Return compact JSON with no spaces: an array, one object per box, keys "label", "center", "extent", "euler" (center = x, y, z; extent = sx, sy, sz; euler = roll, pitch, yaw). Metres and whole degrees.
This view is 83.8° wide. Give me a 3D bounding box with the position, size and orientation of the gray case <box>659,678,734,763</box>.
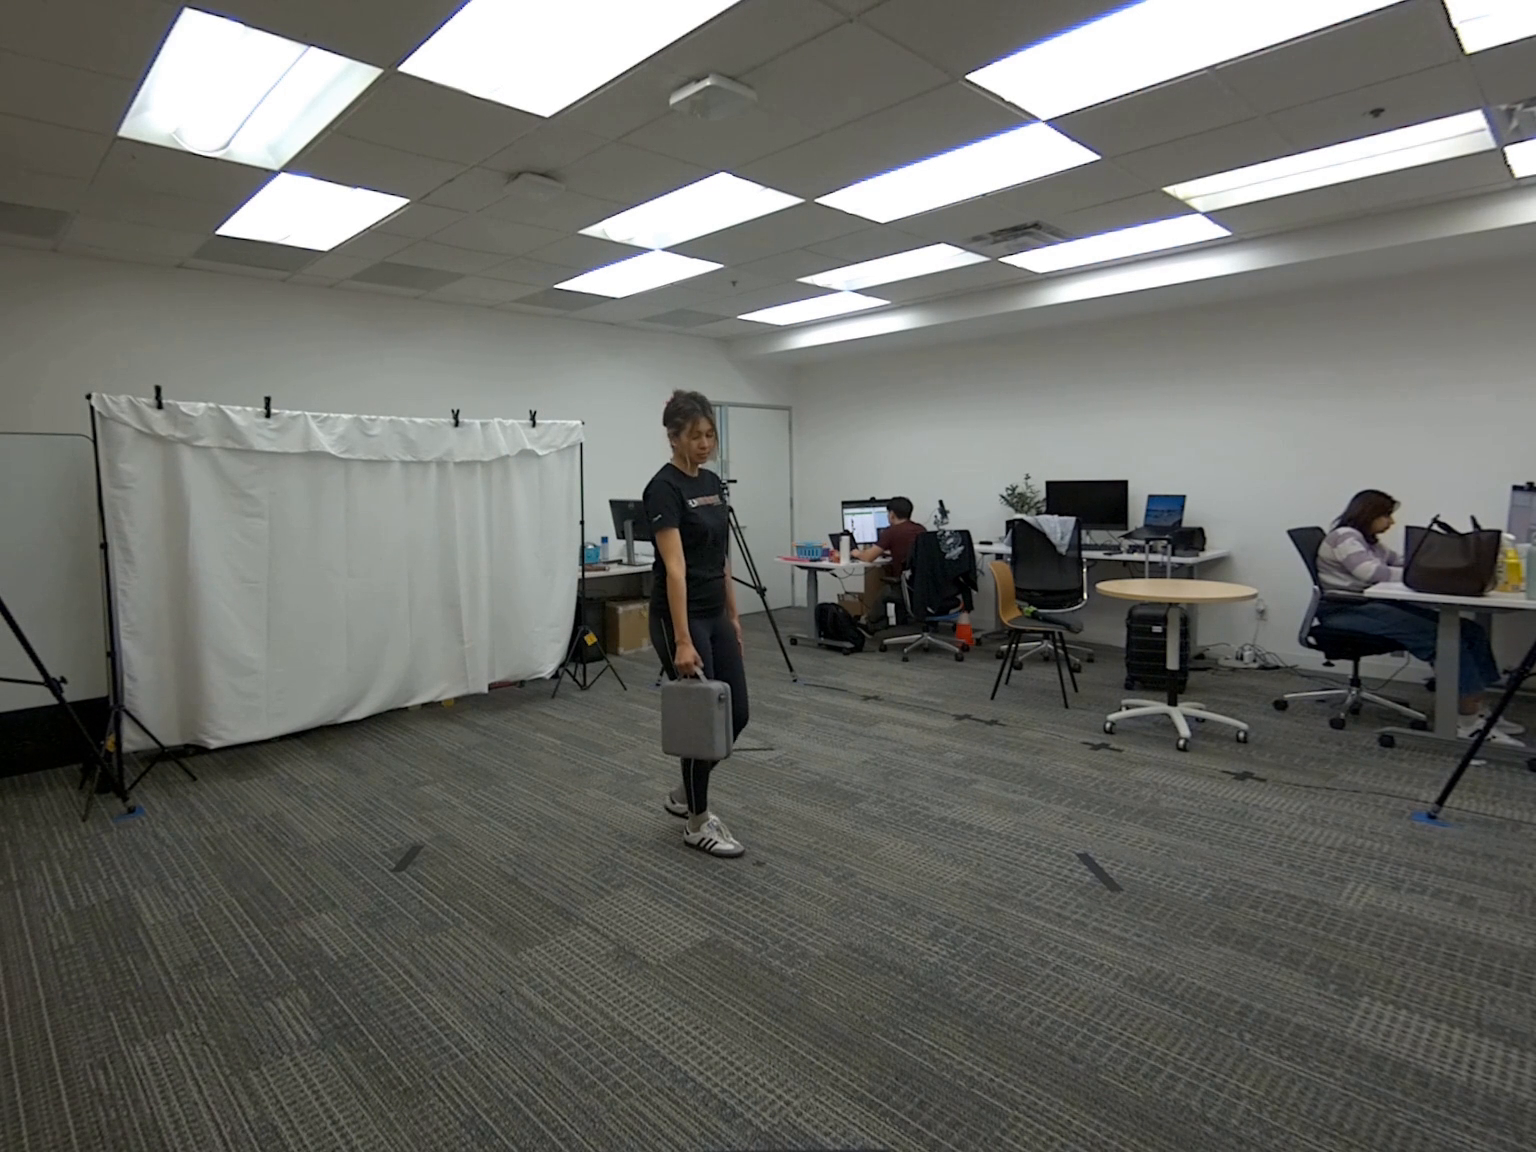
[{"label":"gray case","center":[-0.244,0.480,2.869],"extent":[0.263,0.262,0.101],"euler":[-6,-6,40]}]
